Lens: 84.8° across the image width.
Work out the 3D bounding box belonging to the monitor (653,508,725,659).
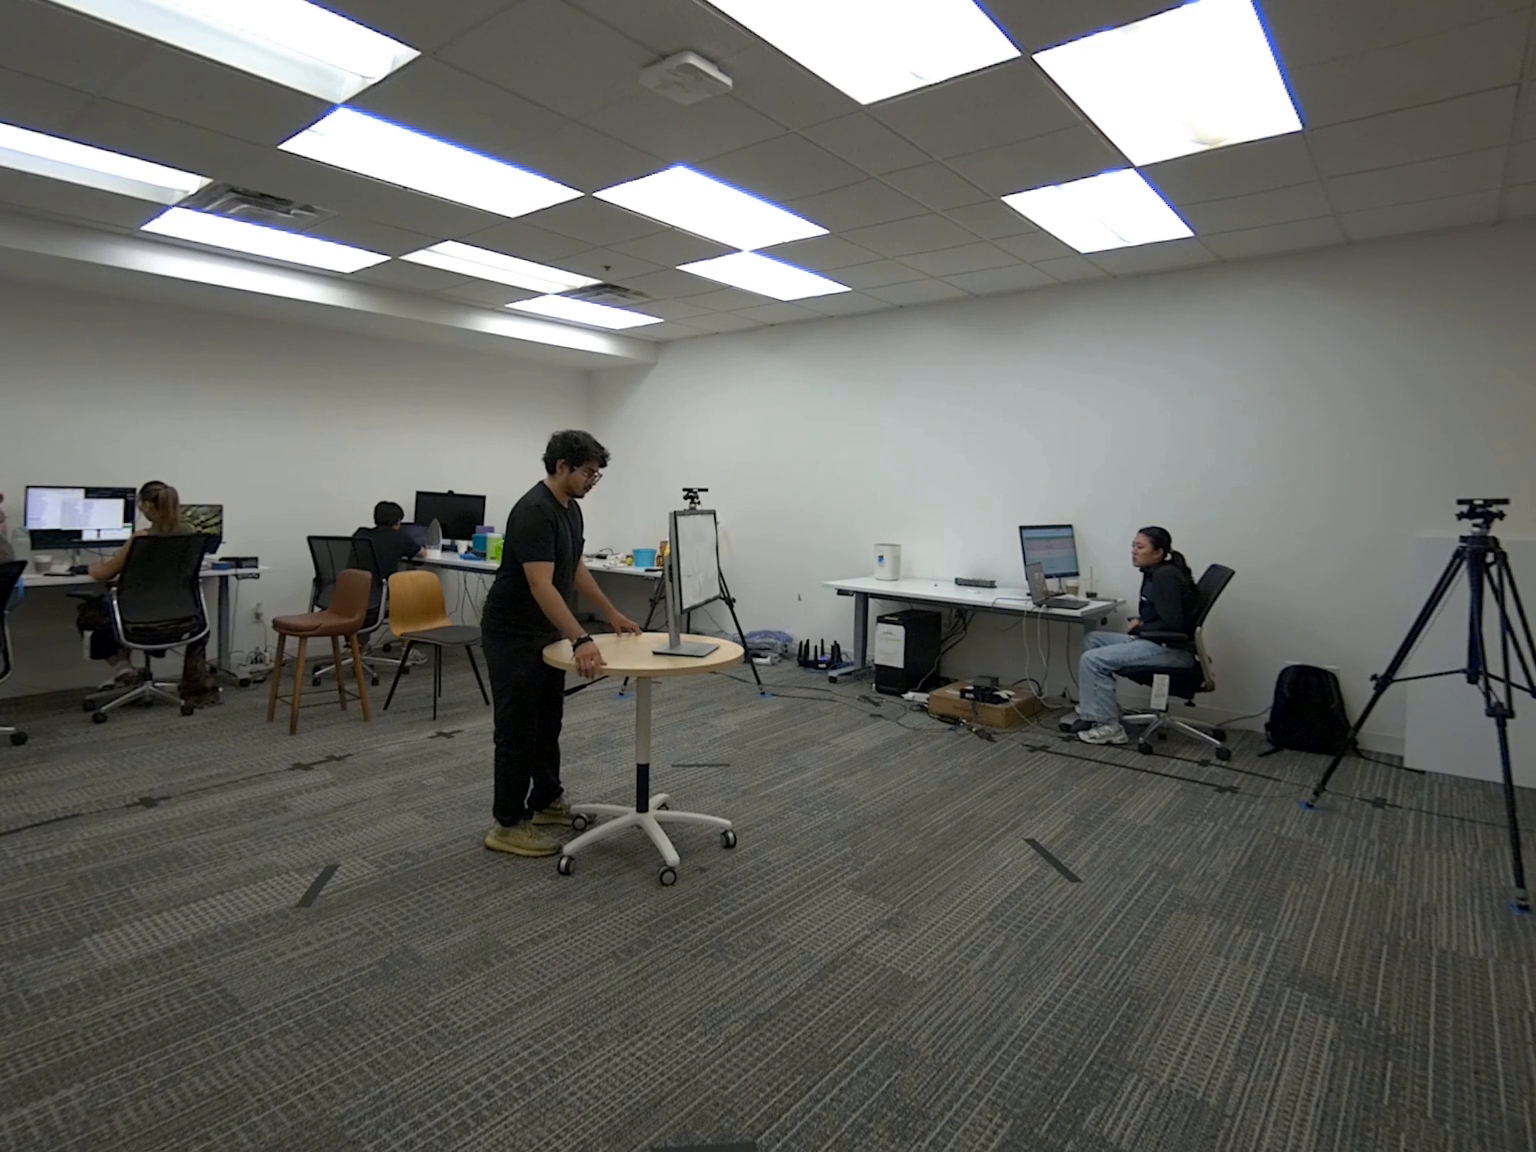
[{"bbox_3d":[-0.340,0.023,3.232,0.213,0.553,0.559,-2,3,12],"label":"monitor"}]
